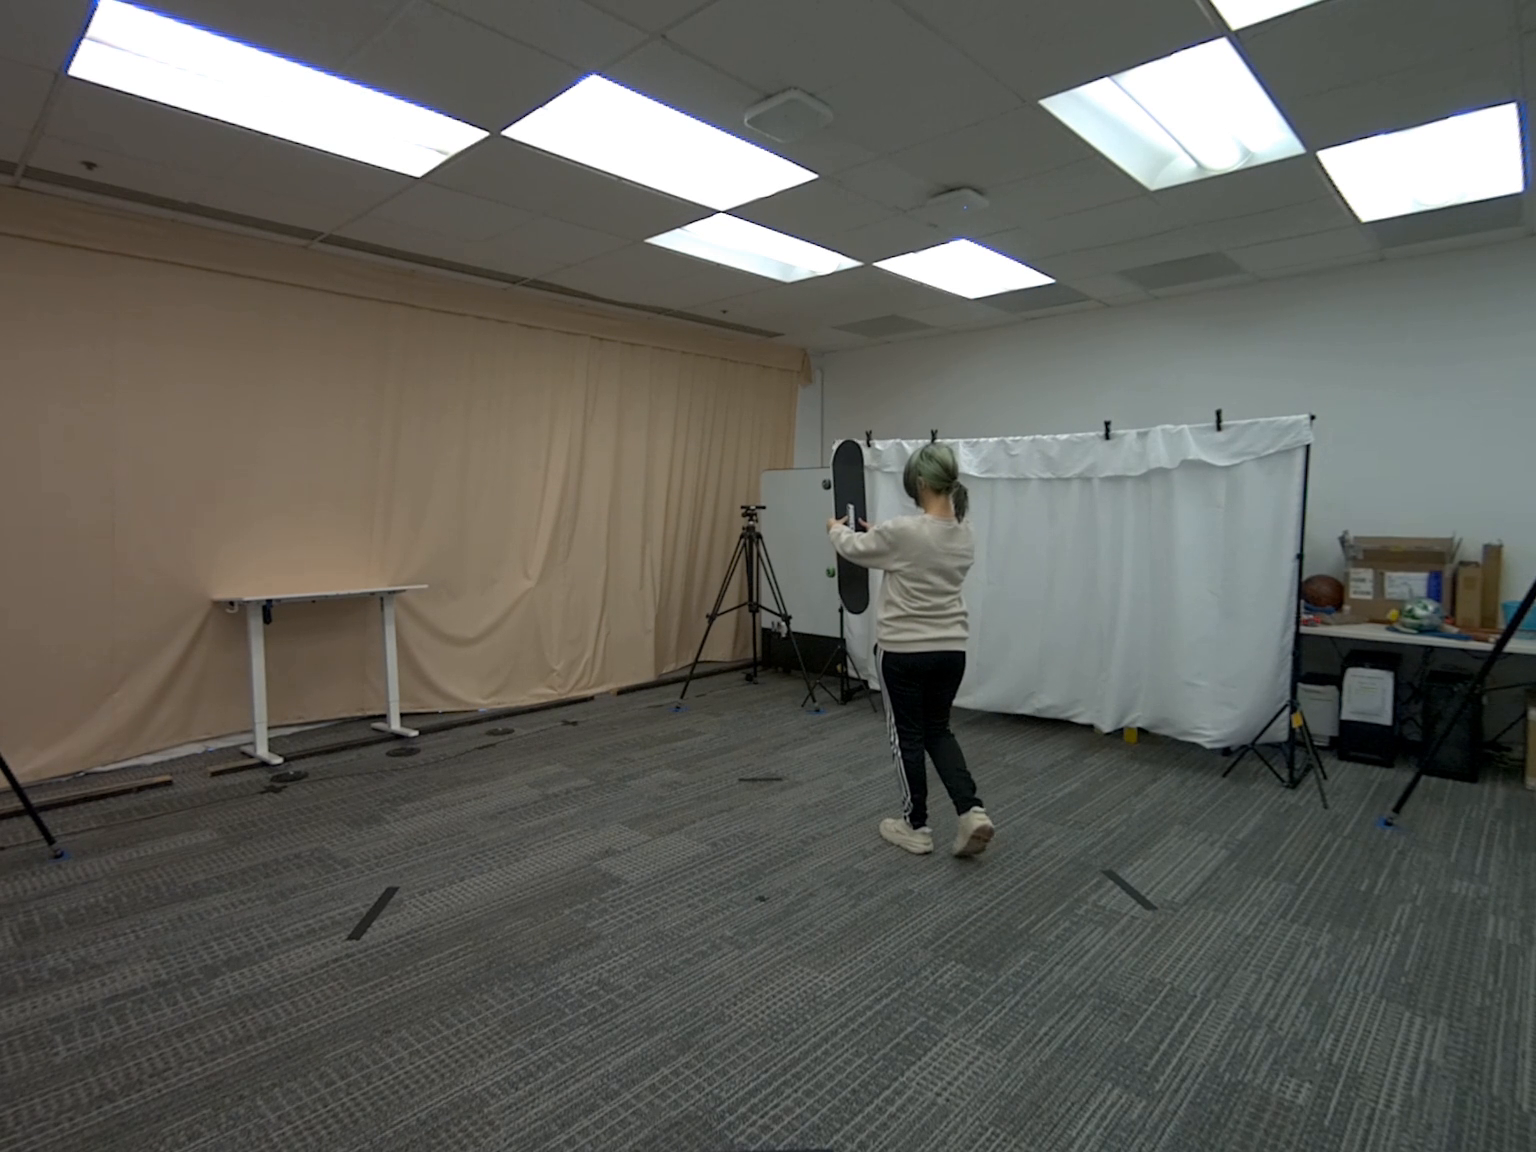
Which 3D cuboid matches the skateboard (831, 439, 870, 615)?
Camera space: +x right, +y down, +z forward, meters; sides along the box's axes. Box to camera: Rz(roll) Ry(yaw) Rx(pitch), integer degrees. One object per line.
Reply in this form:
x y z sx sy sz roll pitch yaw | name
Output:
0.362 -0.220 3.826 0.188 0.786 0.113 -2 -1 -33 | skateboard
